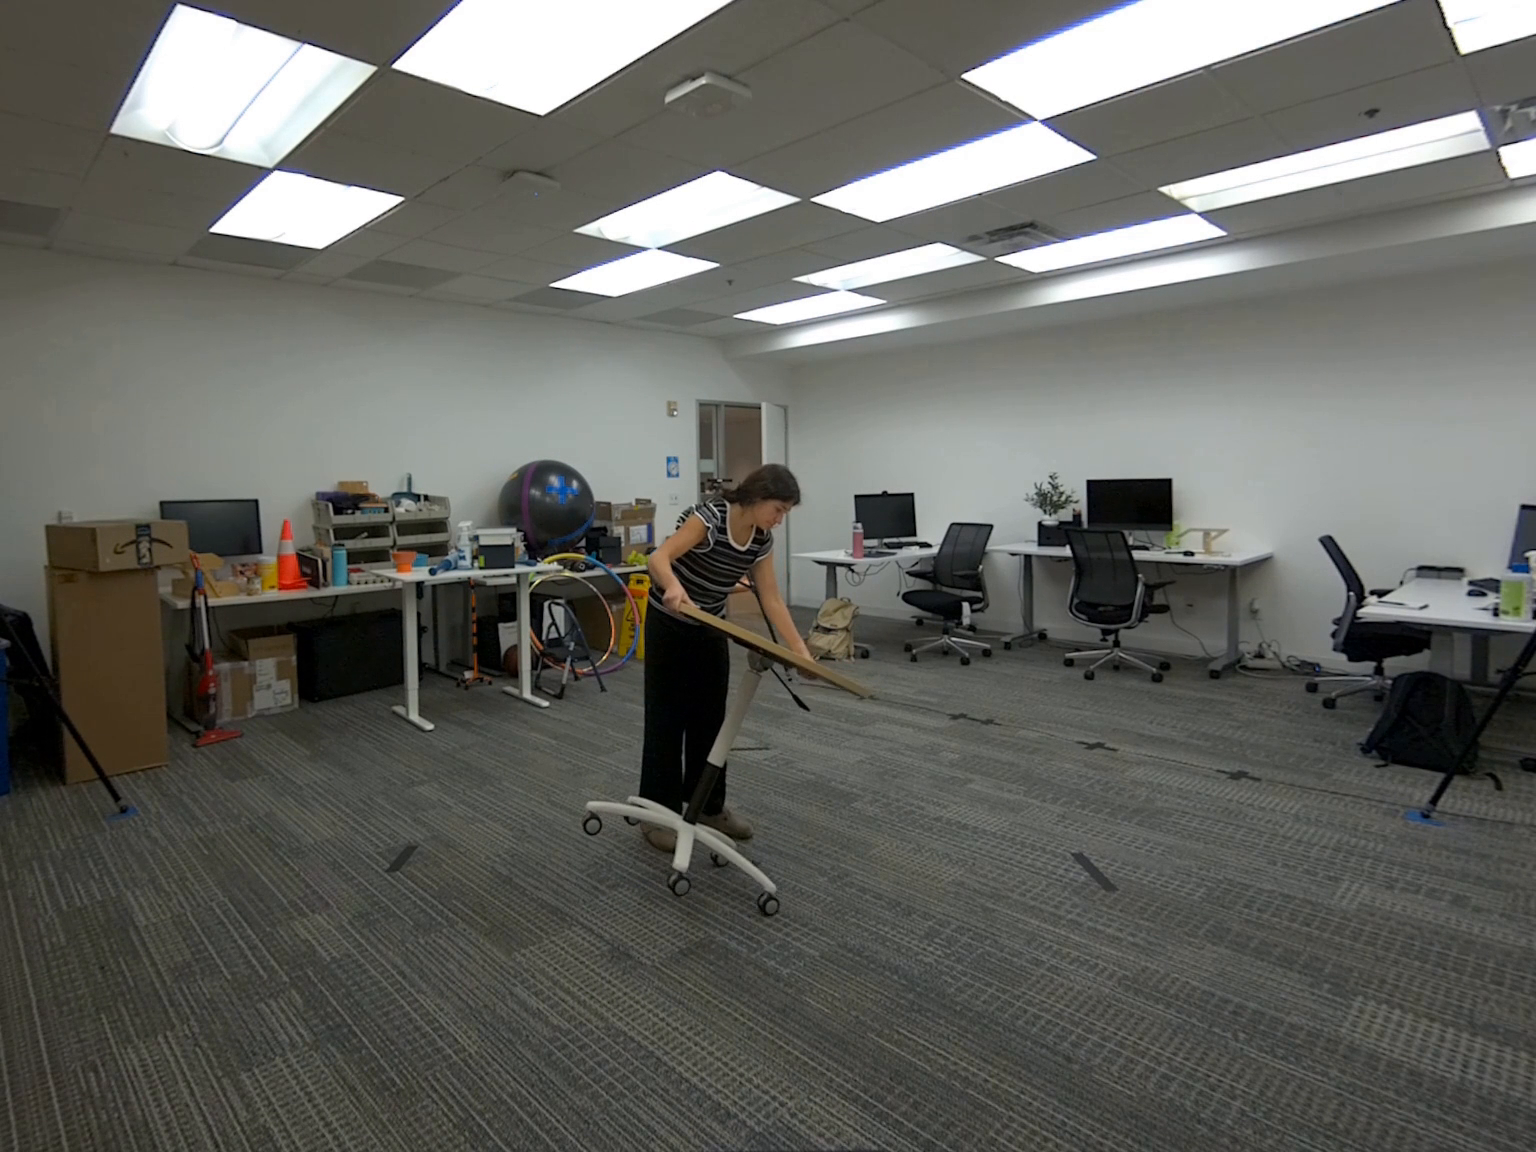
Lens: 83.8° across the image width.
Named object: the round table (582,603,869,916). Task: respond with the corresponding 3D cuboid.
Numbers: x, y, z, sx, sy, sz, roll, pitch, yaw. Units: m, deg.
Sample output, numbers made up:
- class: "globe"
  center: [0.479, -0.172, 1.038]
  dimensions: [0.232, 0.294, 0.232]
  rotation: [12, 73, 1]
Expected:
- class: "round table"
  center: [-0.166, 0.599, 2.892]
  dimensions: [0.766, 0.796, 0.760]
  rotation: [24, -6, 1]
